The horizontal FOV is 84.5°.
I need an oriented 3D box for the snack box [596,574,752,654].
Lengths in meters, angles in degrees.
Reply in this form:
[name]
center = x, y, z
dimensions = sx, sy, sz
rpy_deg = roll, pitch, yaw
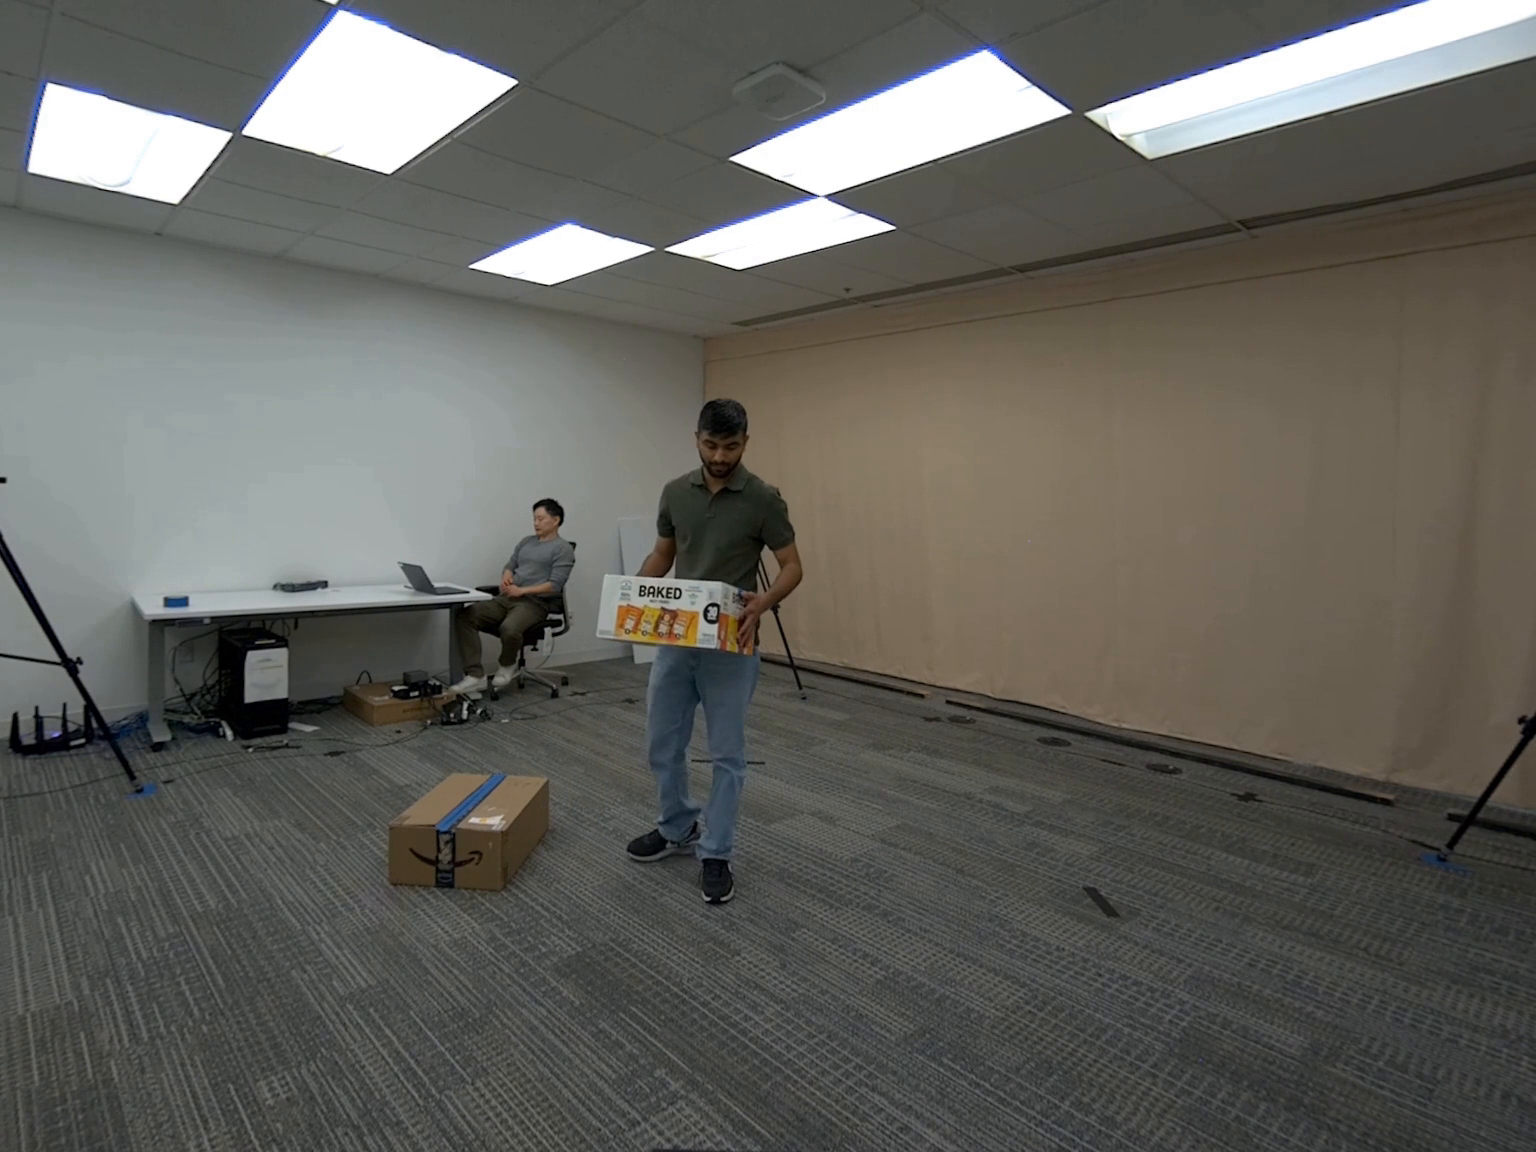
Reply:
[snack box]
center = -0.300, 0.129, 2.729
dimensions = 0.412, 0.207, 0.333
rpy_deg = 3, -8, 20
